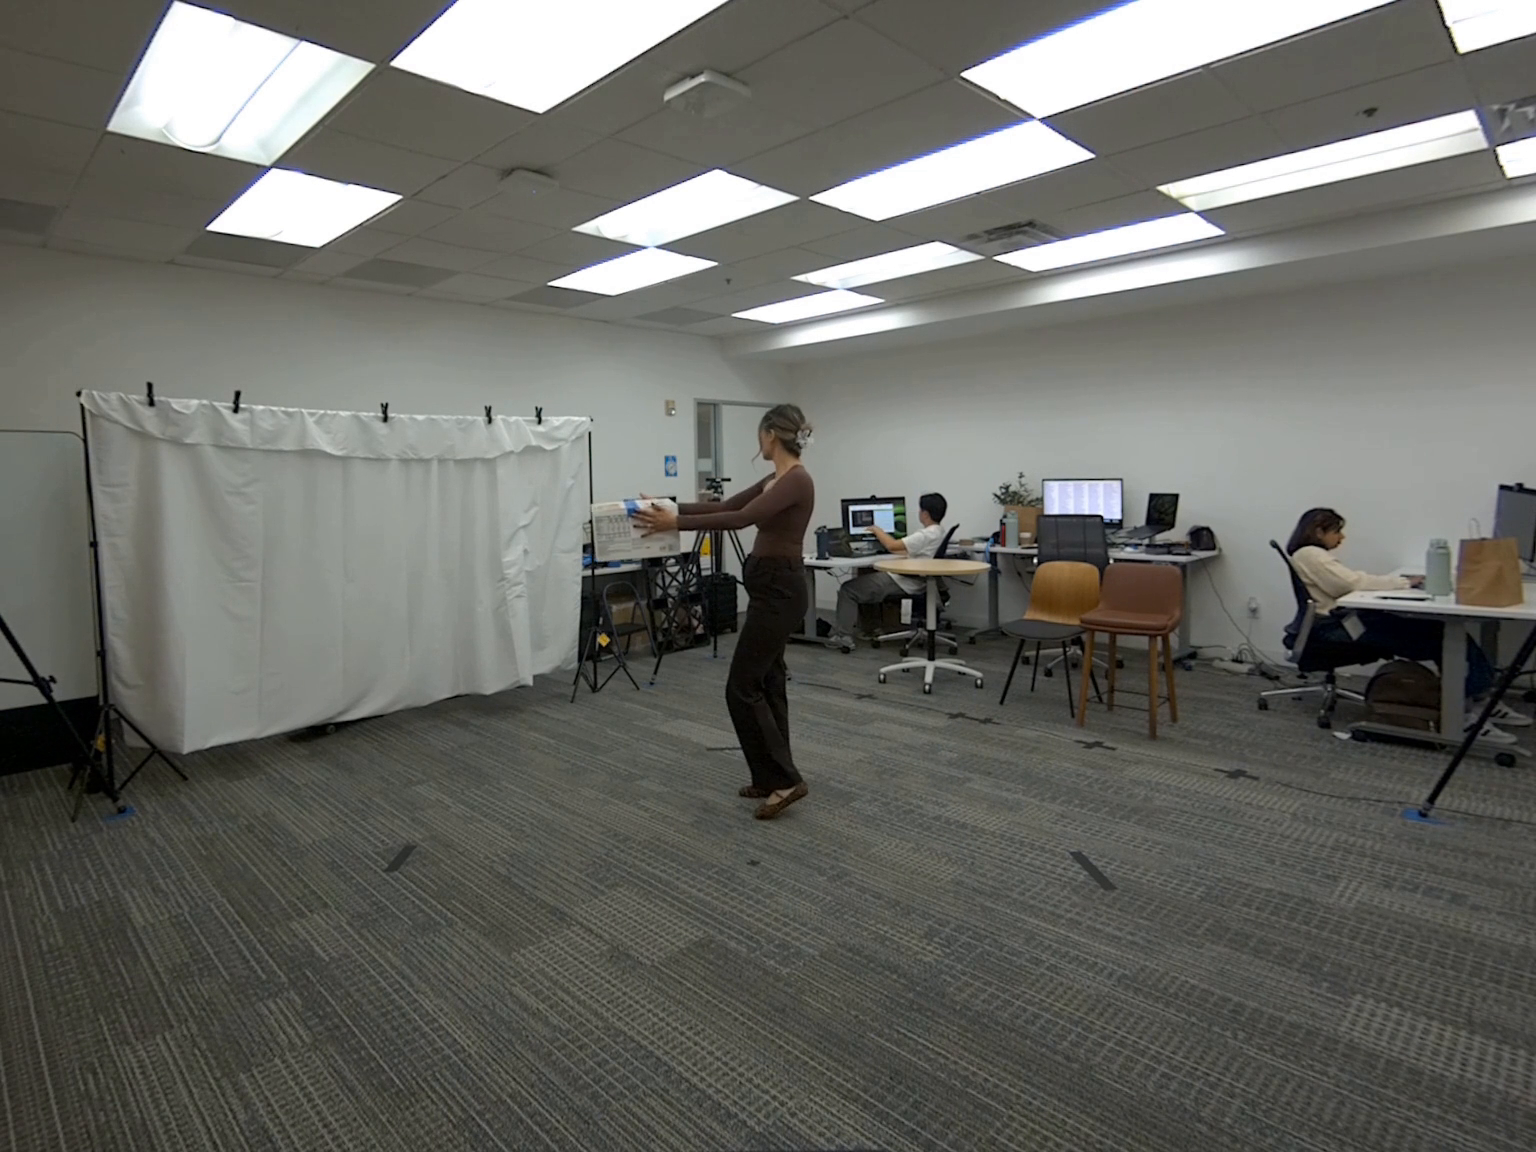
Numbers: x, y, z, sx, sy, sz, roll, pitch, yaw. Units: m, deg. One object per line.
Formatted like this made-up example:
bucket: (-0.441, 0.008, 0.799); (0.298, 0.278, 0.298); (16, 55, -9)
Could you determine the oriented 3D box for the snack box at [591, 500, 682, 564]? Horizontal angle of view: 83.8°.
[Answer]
snack box: (-0.558, -0.198, 3.575); (0.337, 0.204, 0.412); (-5, 9, -11)
